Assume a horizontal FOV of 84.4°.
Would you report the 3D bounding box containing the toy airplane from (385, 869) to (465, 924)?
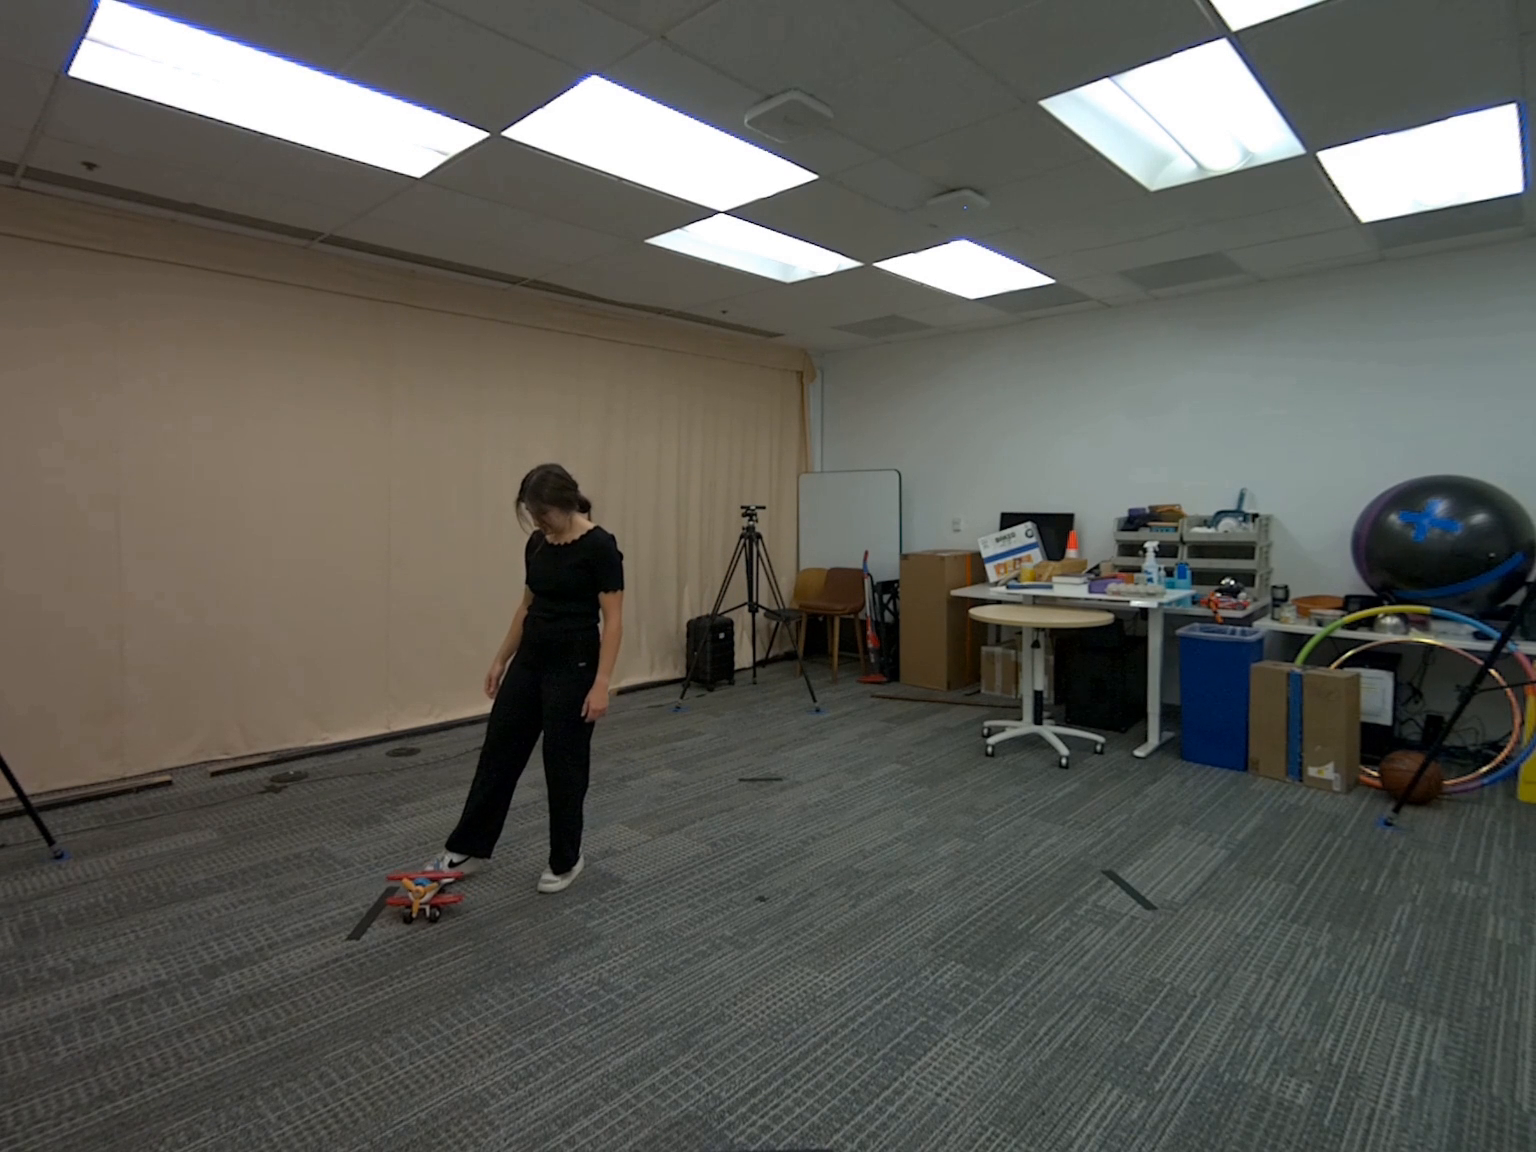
[{"bbox_3d":[-1.185,1.076,2.917,0.244,0.156,0.267,-2,6,-32],"label":"toy airplane"}]
